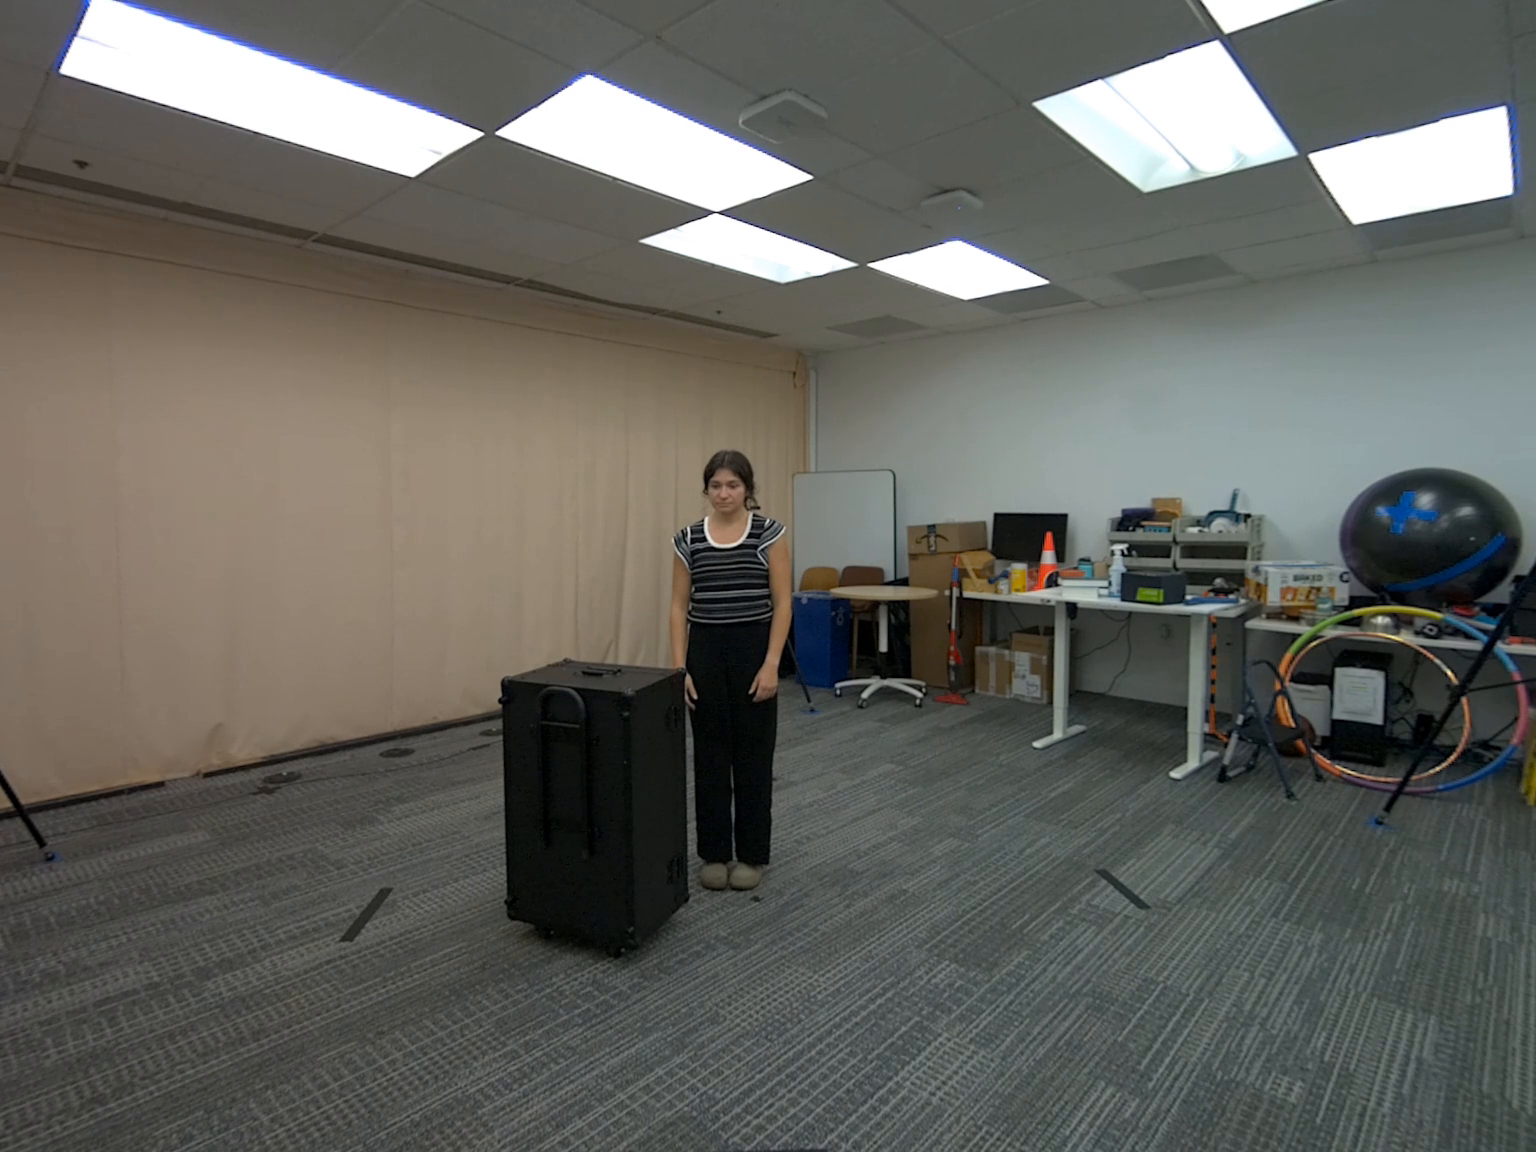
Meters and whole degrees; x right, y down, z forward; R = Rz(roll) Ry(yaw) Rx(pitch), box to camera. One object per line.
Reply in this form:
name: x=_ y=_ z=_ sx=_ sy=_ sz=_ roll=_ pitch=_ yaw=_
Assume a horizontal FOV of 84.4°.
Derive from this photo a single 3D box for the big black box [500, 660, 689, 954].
big black box: x=-0.558 y=0.749 z=2.737 sx=0.534 sy=0.859 sz=0.388 roll=0 pitch=4 yaw=24
